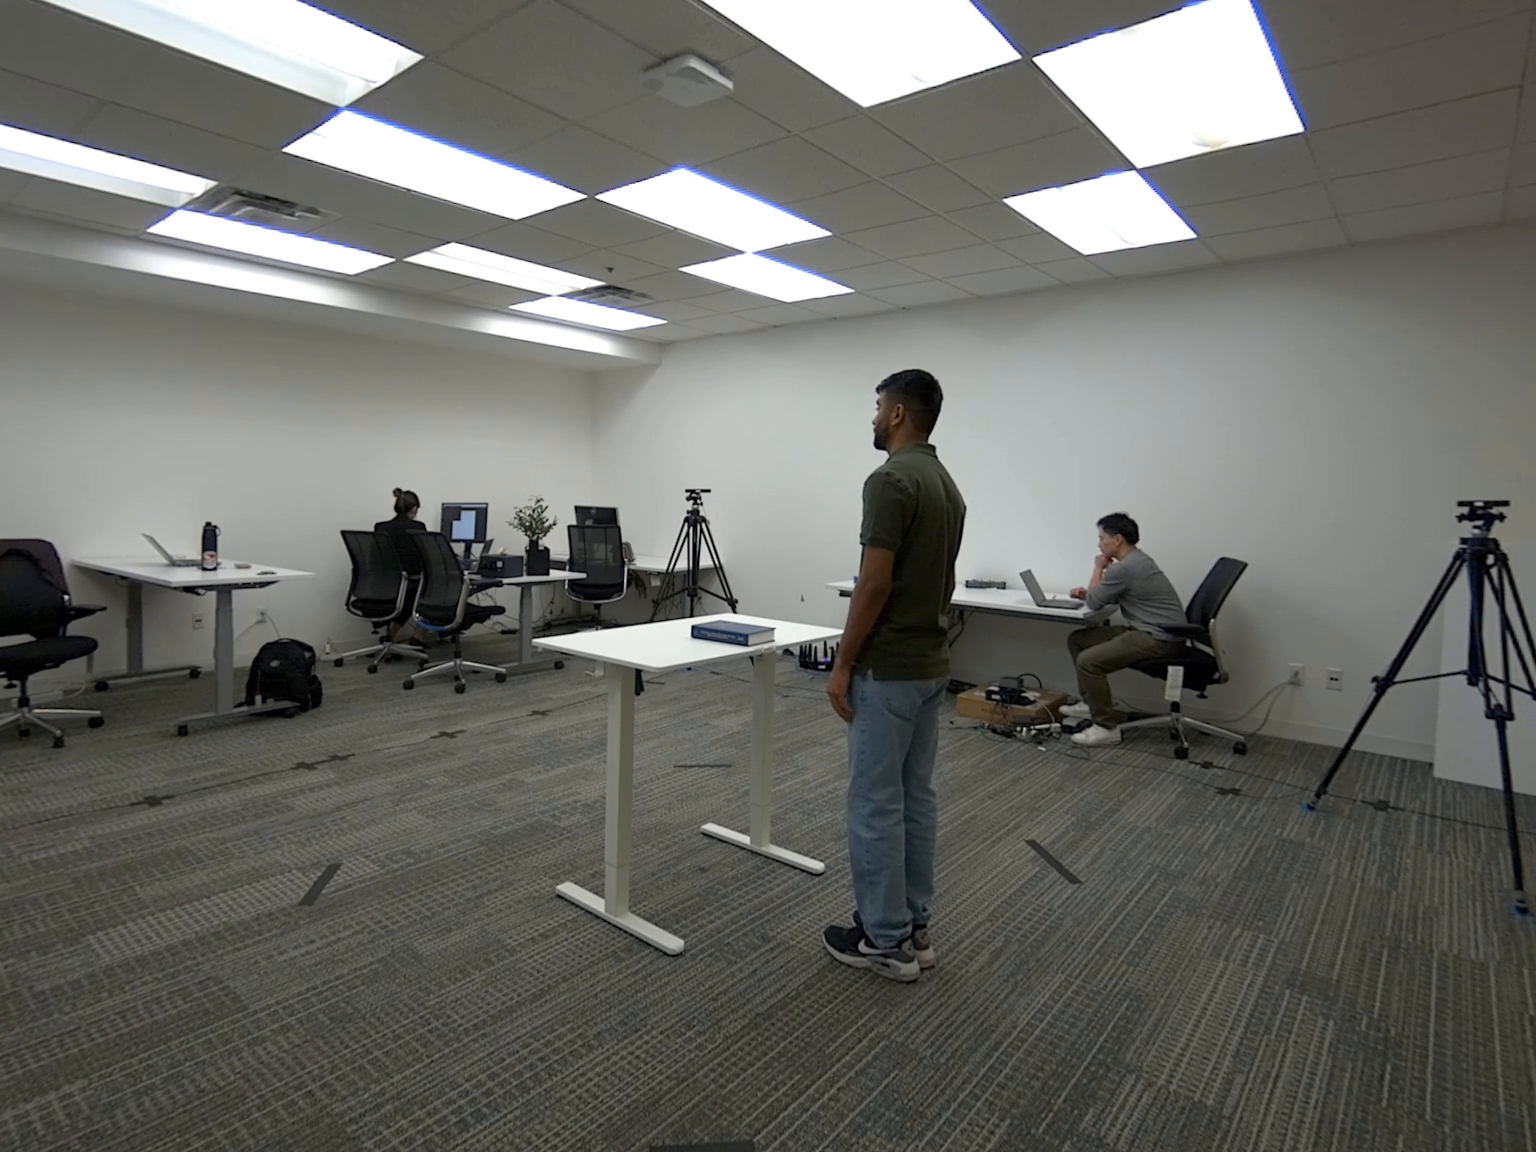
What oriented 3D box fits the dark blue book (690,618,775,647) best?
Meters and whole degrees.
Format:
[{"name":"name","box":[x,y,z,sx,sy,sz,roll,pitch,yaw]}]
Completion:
[{"name":"dark blue book","box":[-0.121,0.193,2.898,0.253,0.045,0.159,5,7,36]}]
